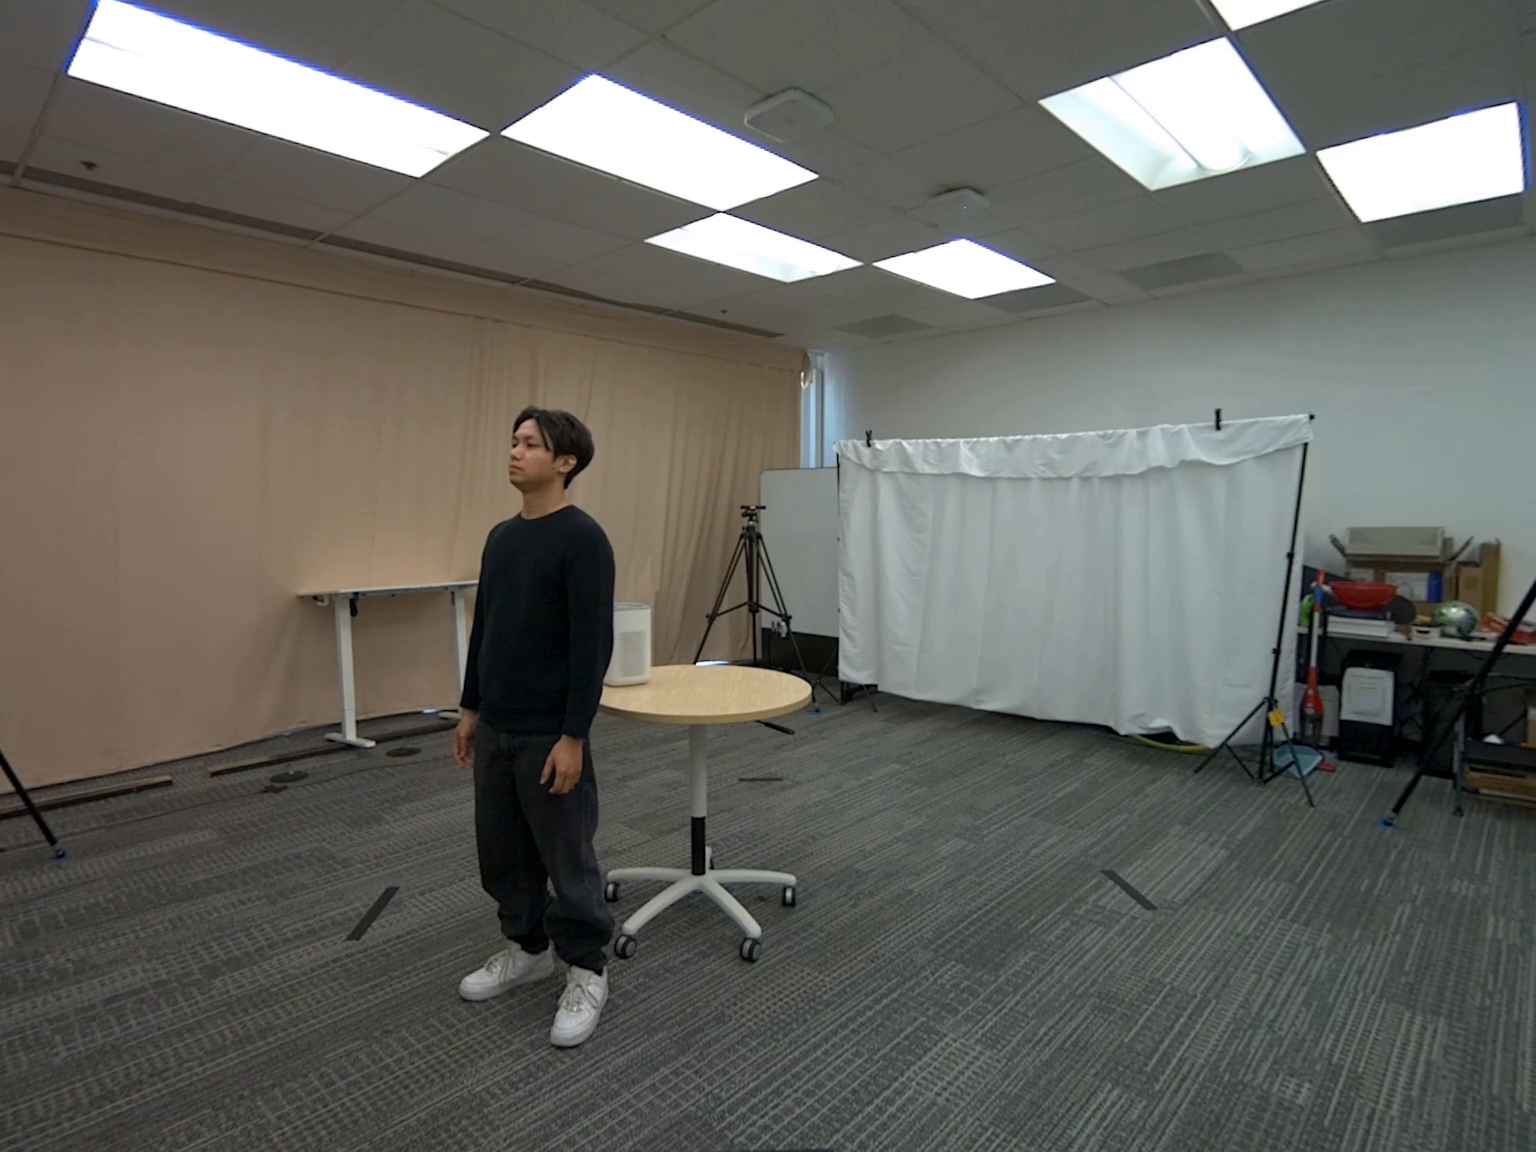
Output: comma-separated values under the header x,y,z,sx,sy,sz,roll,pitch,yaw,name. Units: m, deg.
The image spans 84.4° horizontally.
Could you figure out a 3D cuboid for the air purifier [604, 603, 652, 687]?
x,y,z,sx,sy,sz,roll,pitch,yaw,name
-0.495,0.237,2.903,0.167,0.265,0.175,-2,3,-26,air purifier
